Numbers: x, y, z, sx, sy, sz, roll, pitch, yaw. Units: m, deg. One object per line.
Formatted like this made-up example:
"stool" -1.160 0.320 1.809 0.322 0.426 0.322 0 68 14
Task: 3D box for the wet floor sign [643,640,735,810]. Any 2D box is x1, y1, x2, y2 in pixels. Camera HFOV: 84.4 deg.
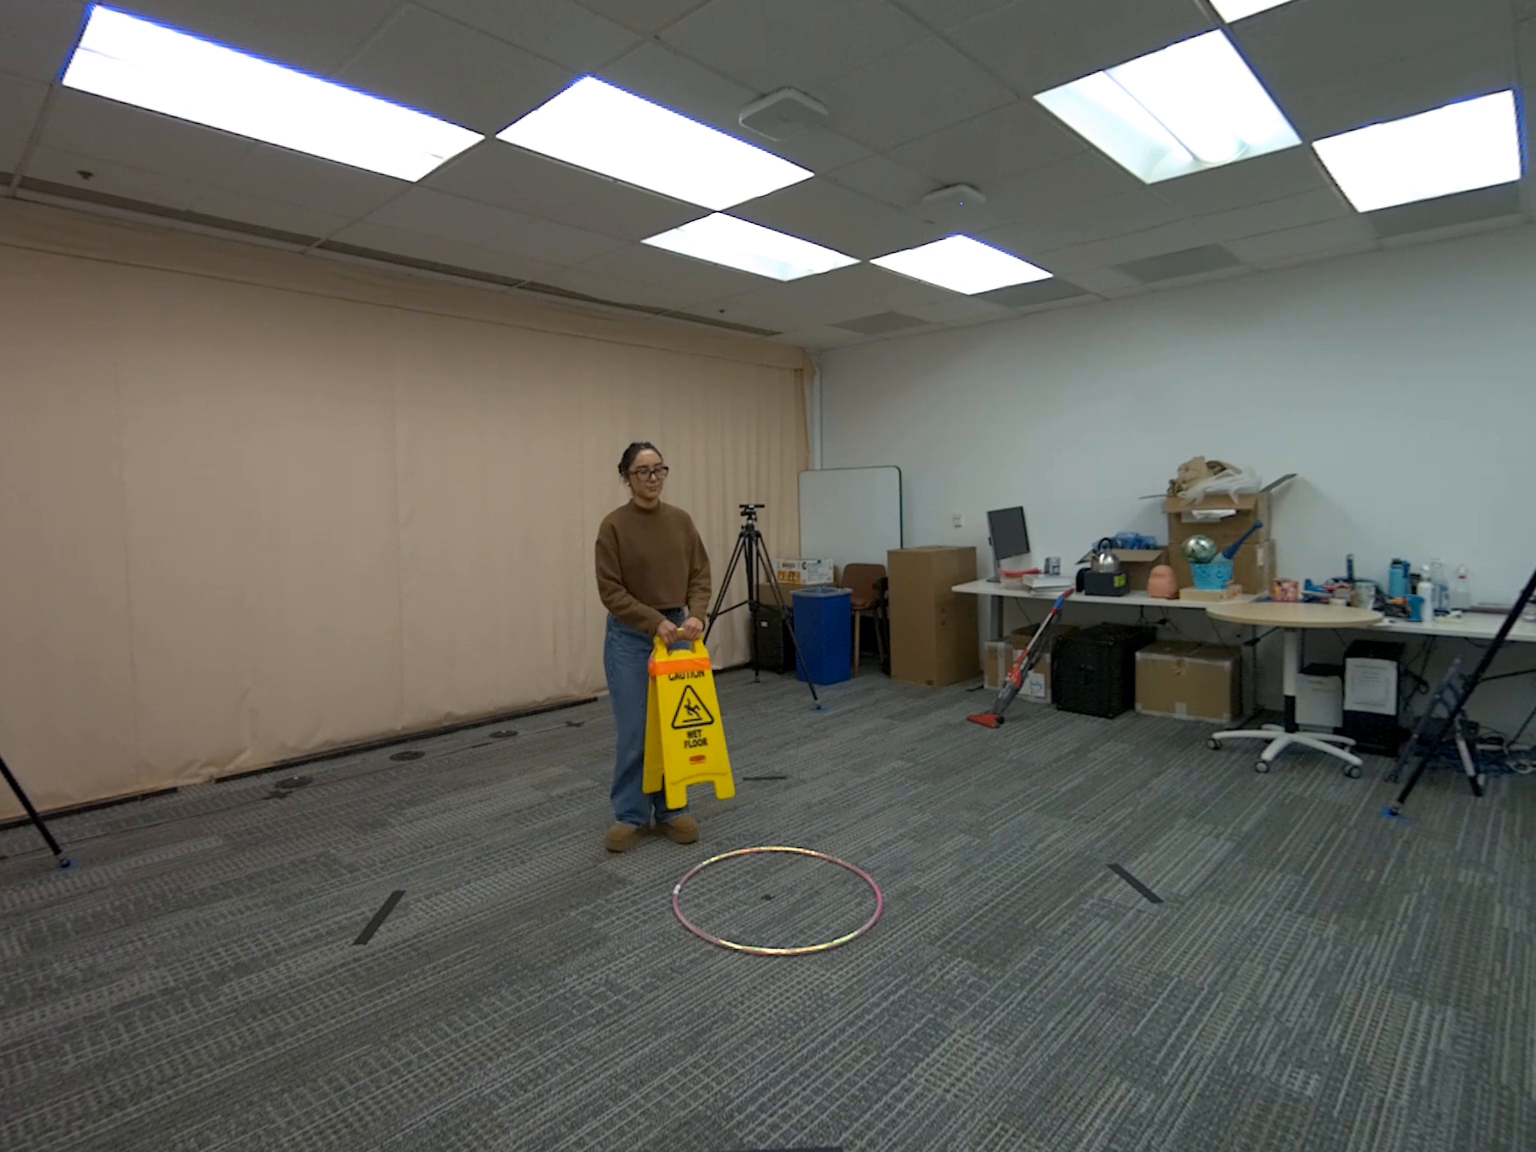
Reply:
"wet floor sign" -0.335 0.534 3.299 0.275 0.646 0.297 -4 1 -27
